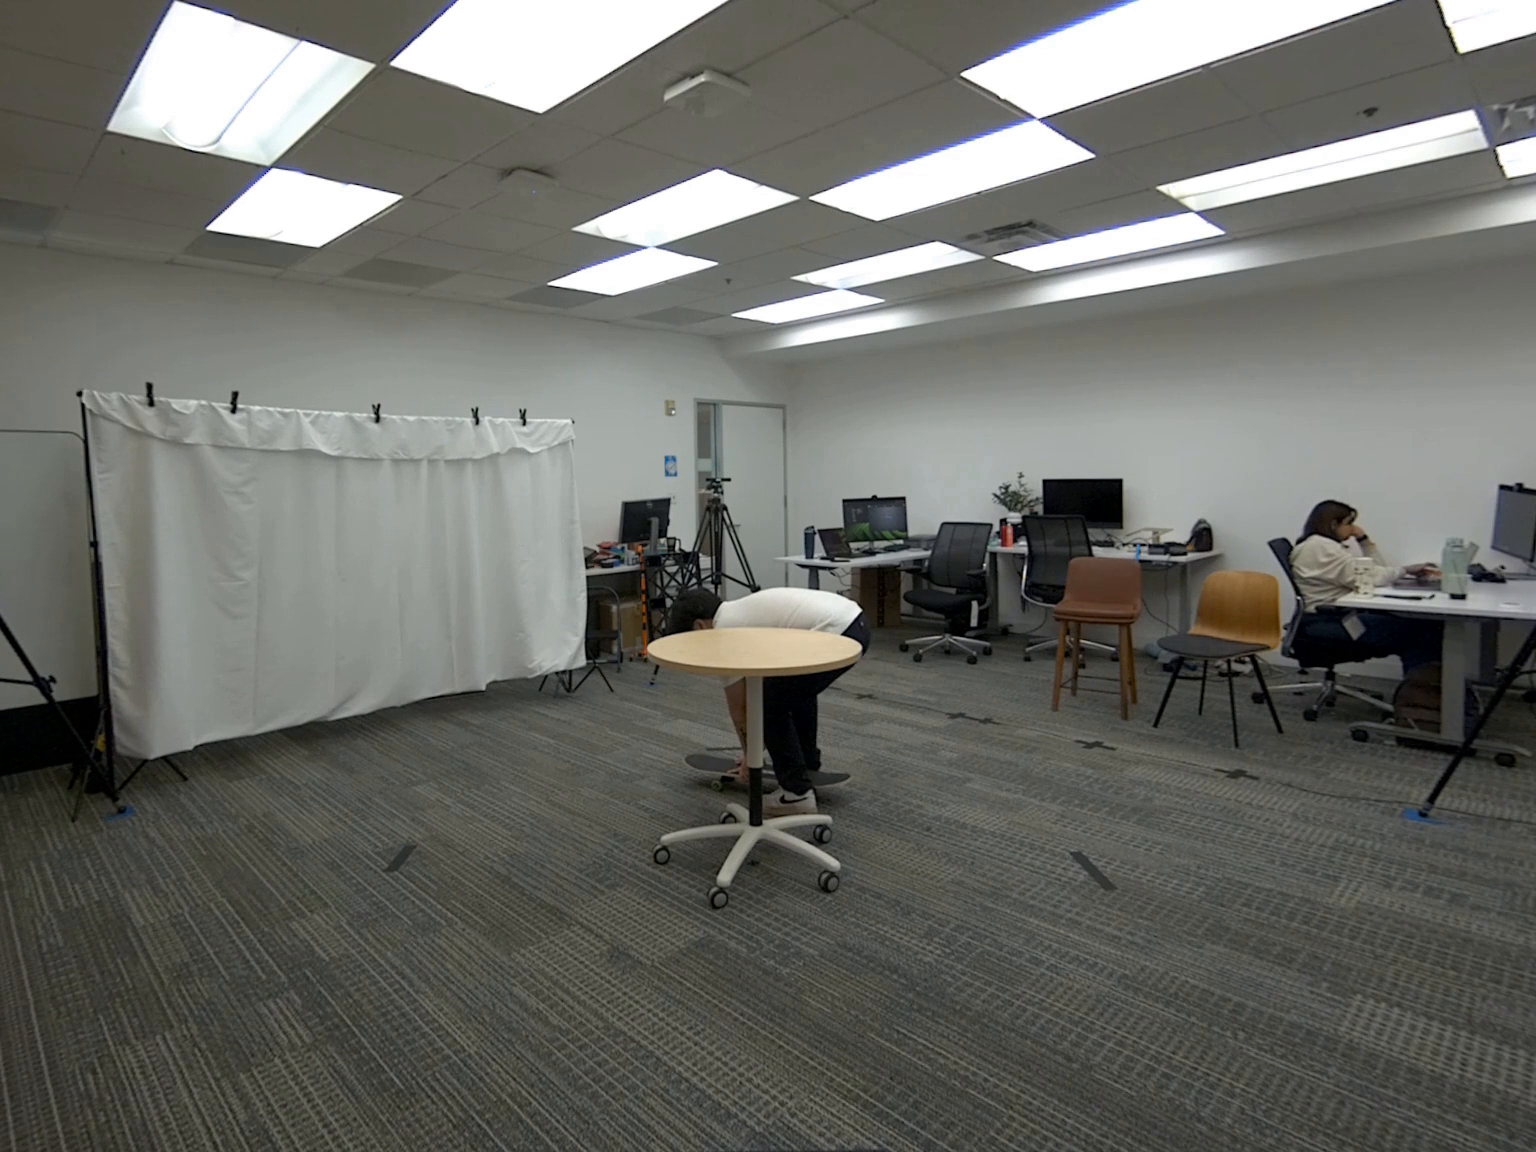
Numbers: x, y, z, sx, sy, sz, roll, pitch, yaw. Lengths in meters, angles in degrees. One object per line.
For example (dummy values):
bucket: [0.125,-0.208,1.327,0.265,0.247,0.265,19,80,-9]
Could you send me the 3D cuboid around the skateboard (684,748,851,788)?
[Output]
skateboard: [-0.009,0.907,3.812,0.804,0.110,0.190,2,7,25]
